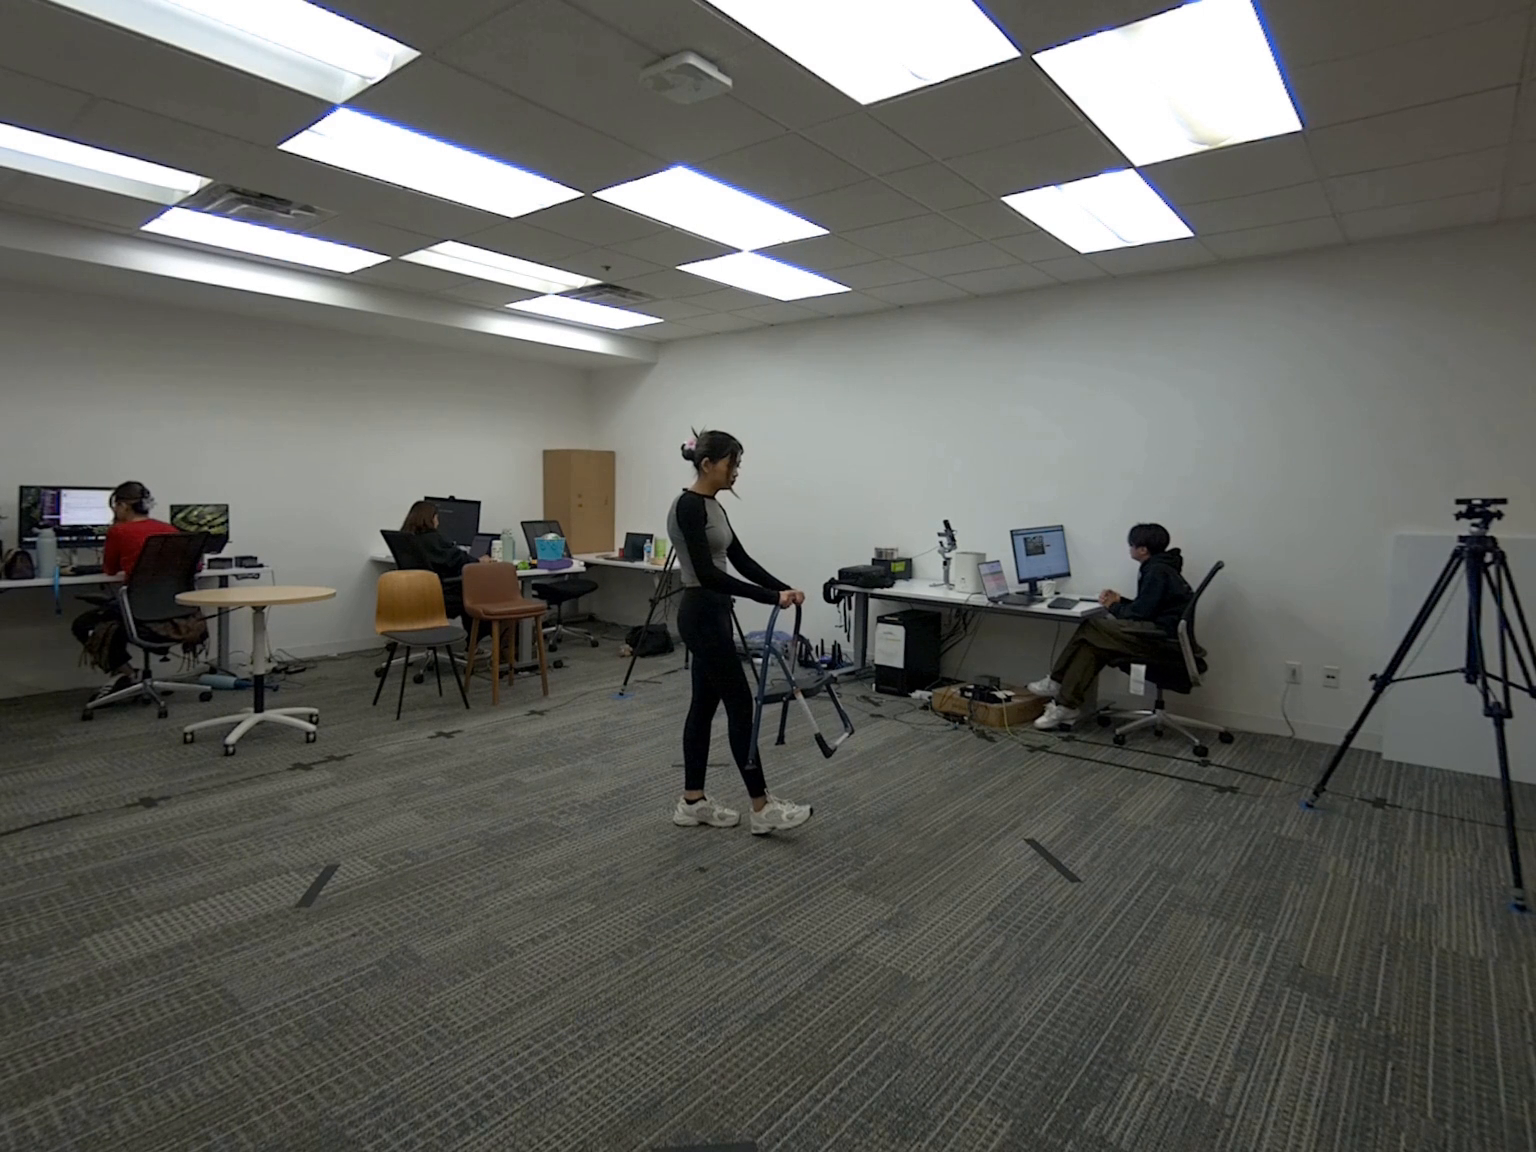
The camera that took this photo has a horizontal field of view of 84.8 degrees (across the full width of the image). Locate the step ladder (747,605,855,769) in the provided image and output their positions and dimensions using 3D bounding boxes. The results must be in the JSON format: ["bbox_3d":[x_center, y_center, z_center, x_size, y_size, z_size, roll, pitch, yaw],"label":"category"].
[{"bbox_3d":[0.066,0.396,3.395,0.355,0.608,0.422,-13,-3,19],"label":"step ladder"}]
